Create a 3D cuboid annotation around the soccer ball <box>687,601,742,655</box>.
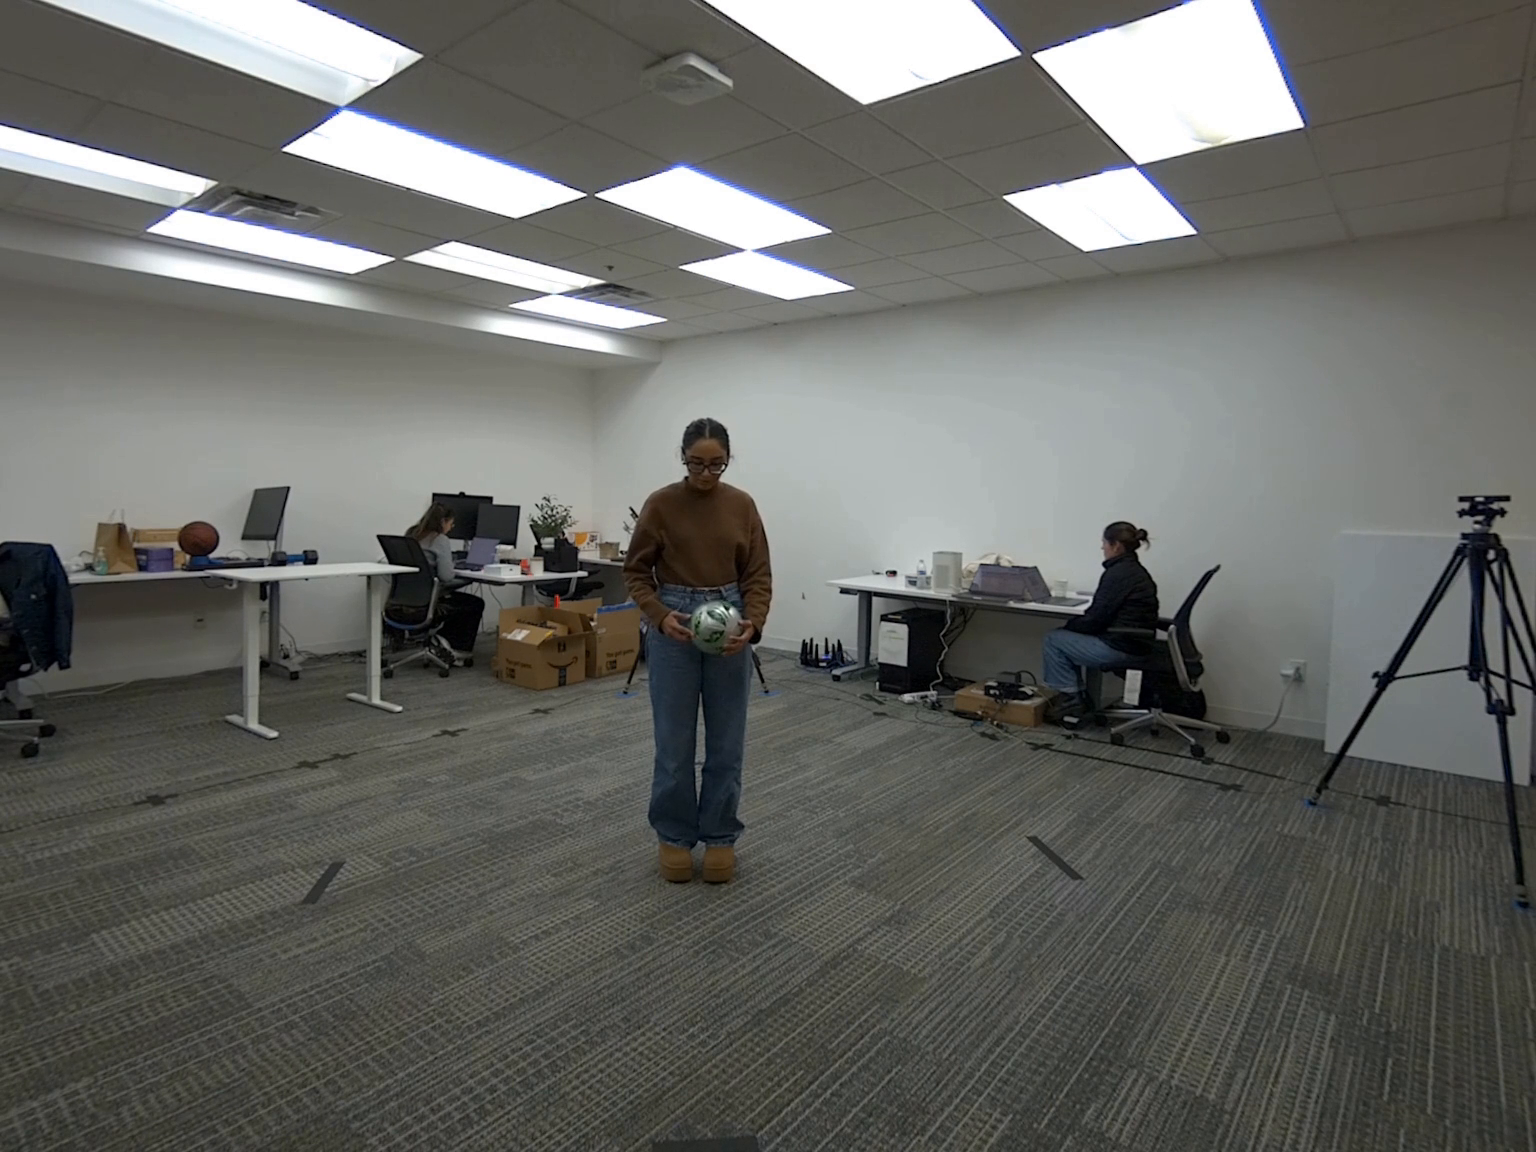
[{"bbox_3d":[-0.191,0.170,2.873,0.187,0.187,0.188,1,4,-2],"label":"soccer ball"}]
